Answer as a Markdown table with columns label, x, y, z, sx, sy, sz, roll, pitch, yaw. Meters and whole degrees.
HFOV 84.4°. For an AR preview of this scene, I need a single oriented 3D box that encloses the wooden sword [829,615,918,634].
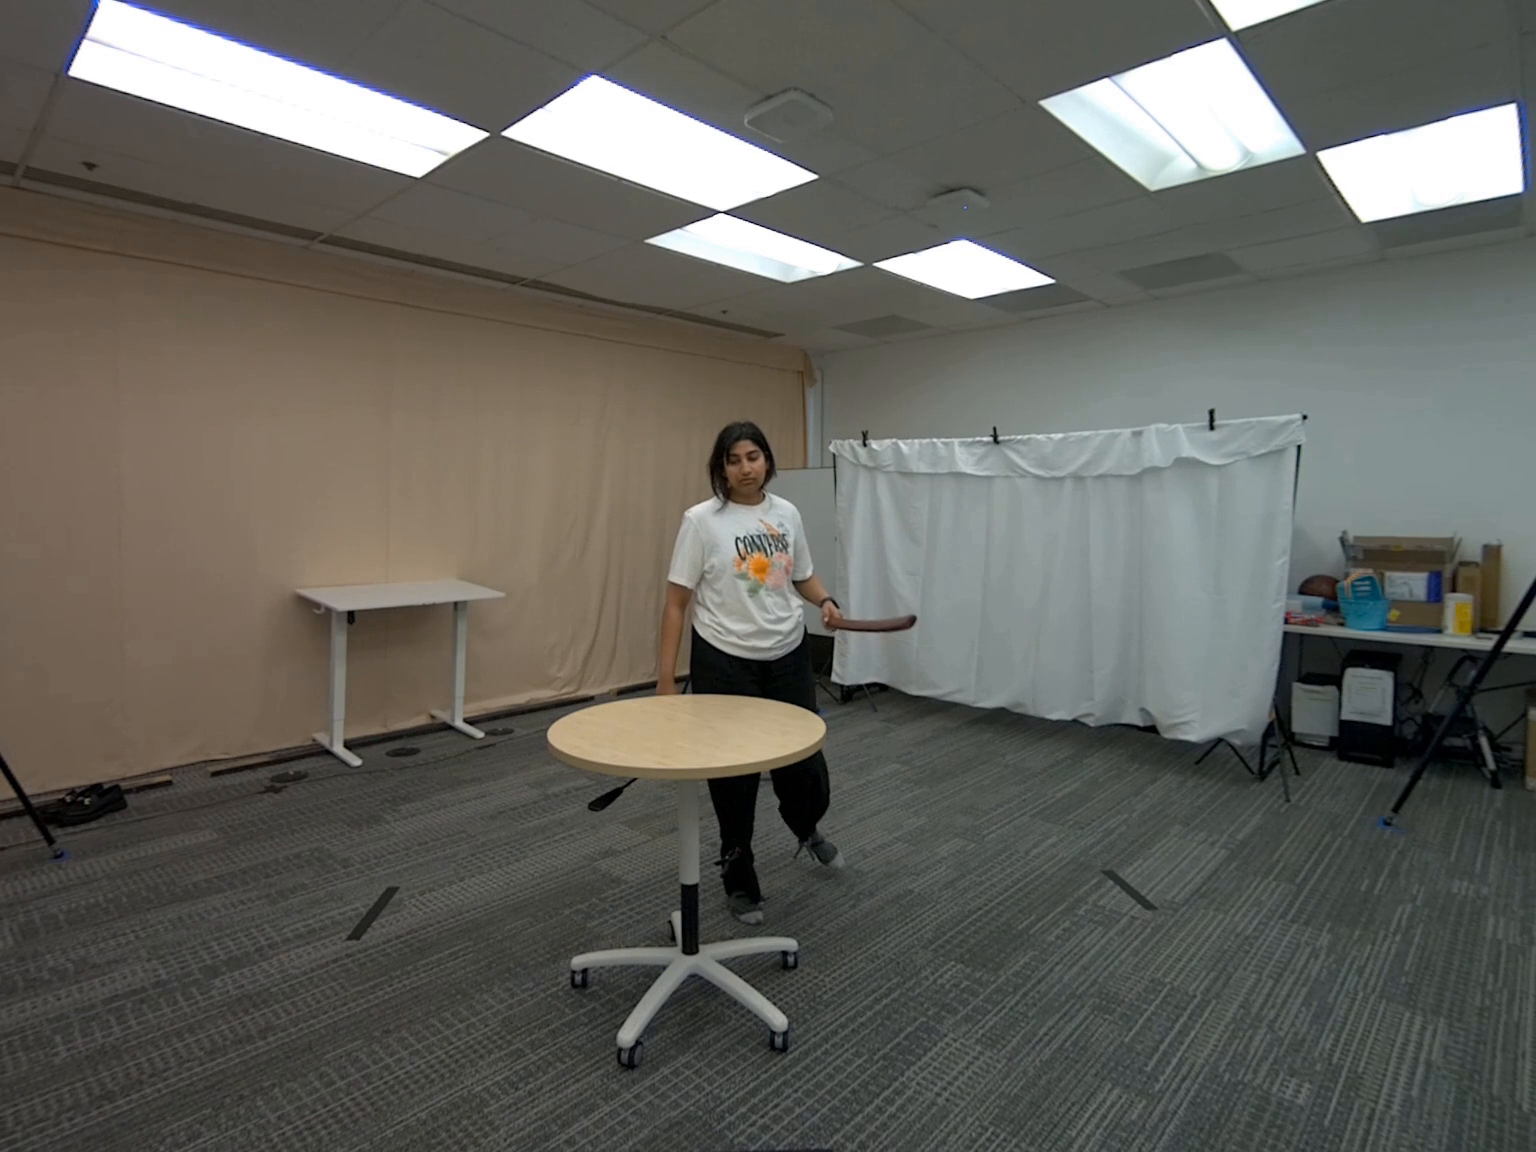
| label | x | y | z | sx | sy | sz | roll | pitch | yaw |
| --- | --- | --- | --- | --- | --- | --- | --- | --- | --- |
| wooden sword | 0.289 | 0.150 | 2.386 | 0.051 | 0.024 | 1.027 | -9 | -2 | -7 |
